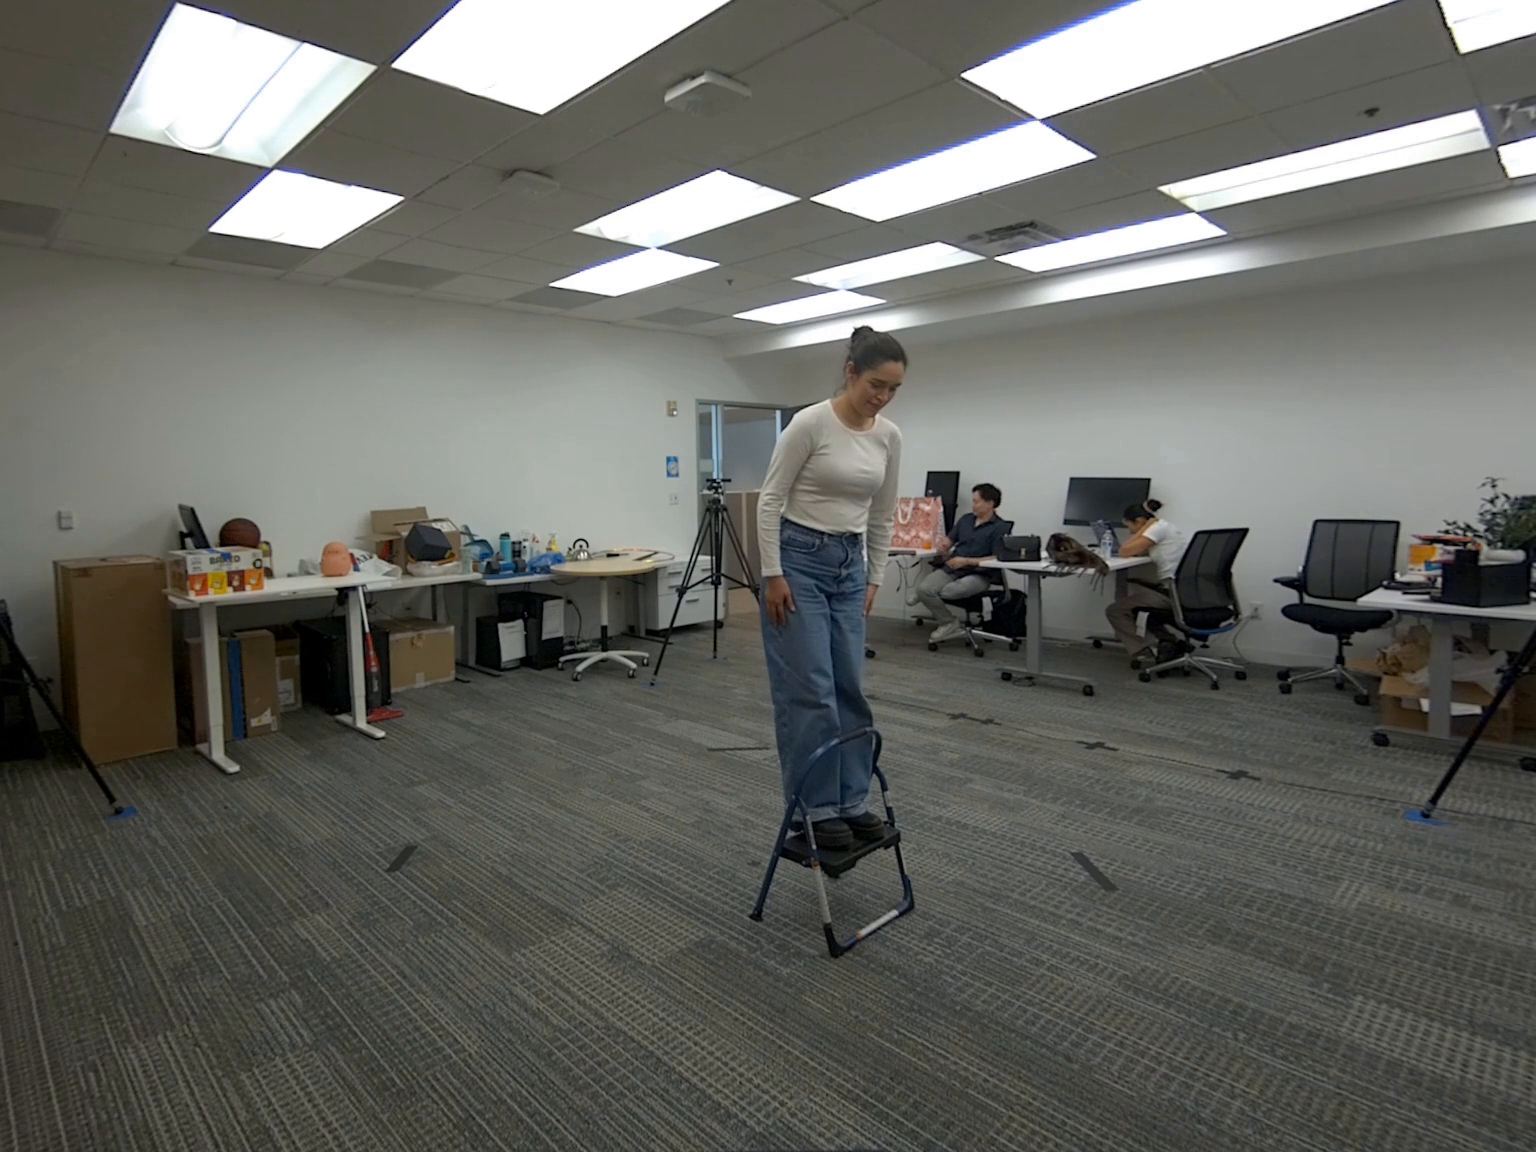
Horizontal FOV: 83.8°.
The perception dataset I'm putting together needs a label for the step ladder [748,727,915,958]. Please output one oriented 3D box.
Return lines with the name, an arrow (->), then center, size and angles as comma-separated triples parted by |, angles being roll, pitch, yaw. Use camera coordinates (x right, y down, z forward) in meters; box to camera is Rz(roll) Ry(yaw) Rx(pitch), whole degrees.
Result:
step ladder -> 0.207, 0.781, 2.725 | 0.360, 0.604, 0.419 | 3, 6, 44
